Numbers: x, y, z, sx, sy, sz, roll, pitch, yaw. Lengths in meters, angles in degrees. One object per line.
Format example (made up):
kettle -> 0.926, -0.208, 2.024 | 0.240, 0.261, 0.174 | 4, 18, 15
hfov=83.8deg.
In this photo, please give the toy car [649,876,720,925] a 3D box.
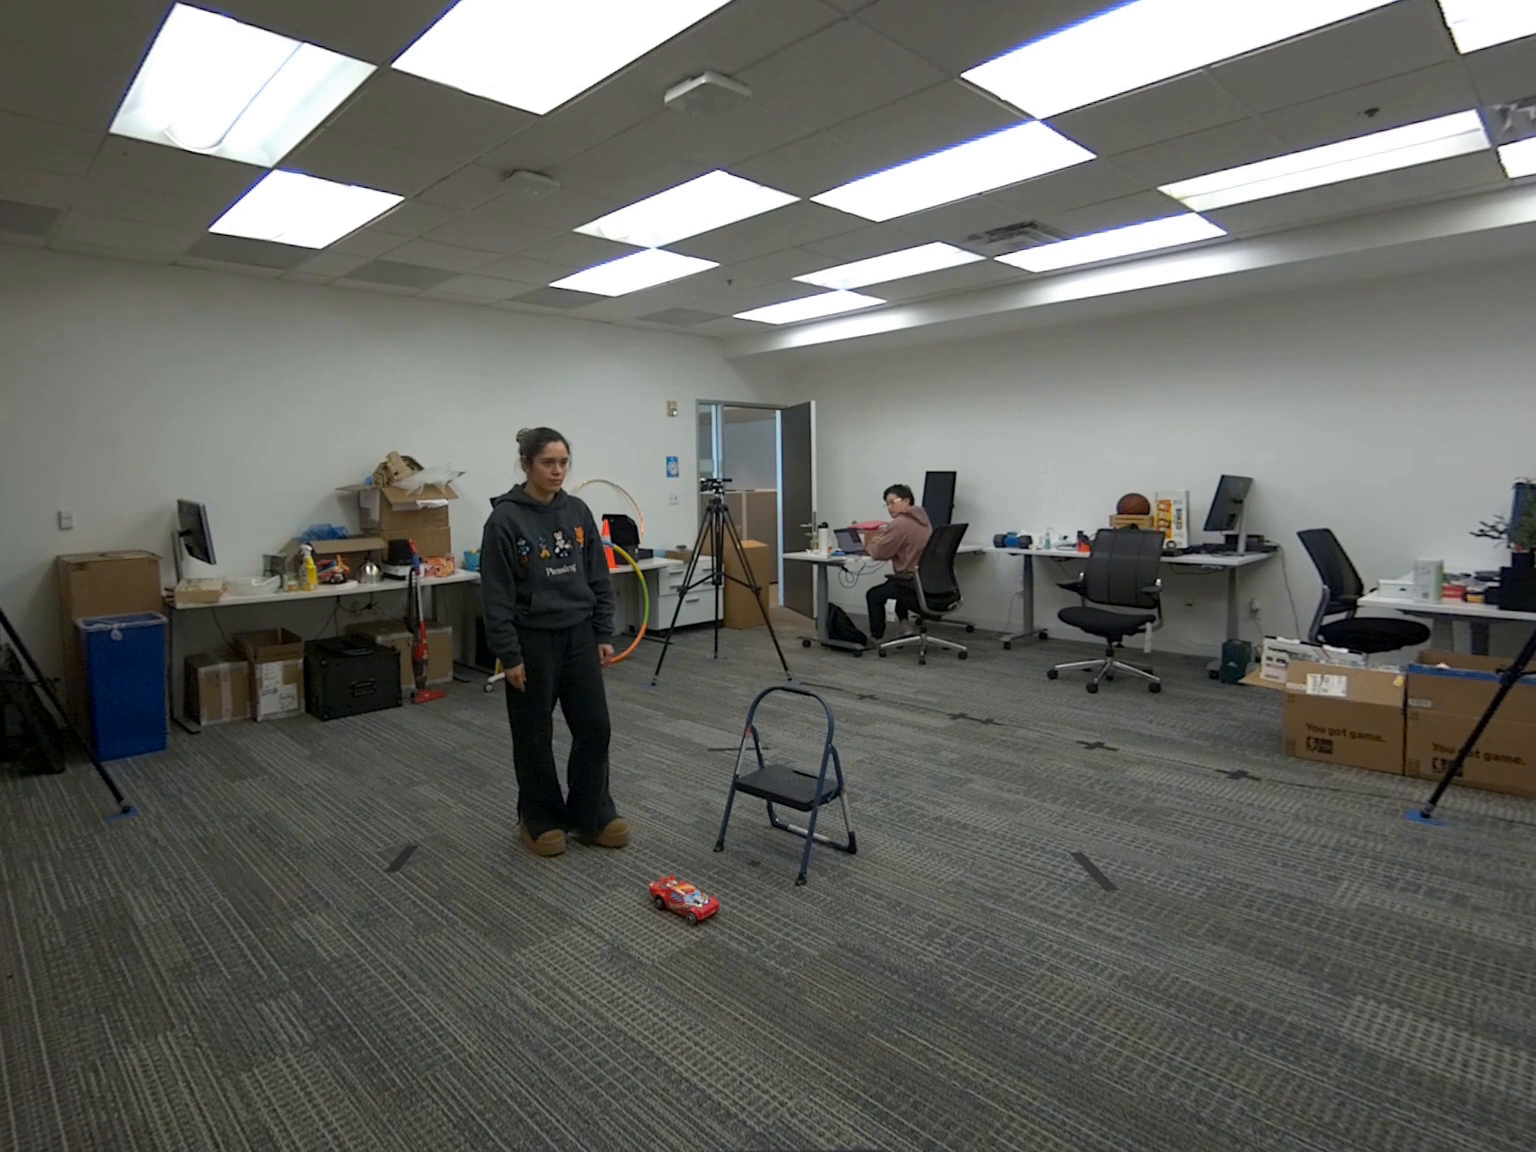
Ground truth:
toy car -> -0.280, 1.057, 2.774 | 0.264, 0.082, 0.127 | 18, 17, 40
